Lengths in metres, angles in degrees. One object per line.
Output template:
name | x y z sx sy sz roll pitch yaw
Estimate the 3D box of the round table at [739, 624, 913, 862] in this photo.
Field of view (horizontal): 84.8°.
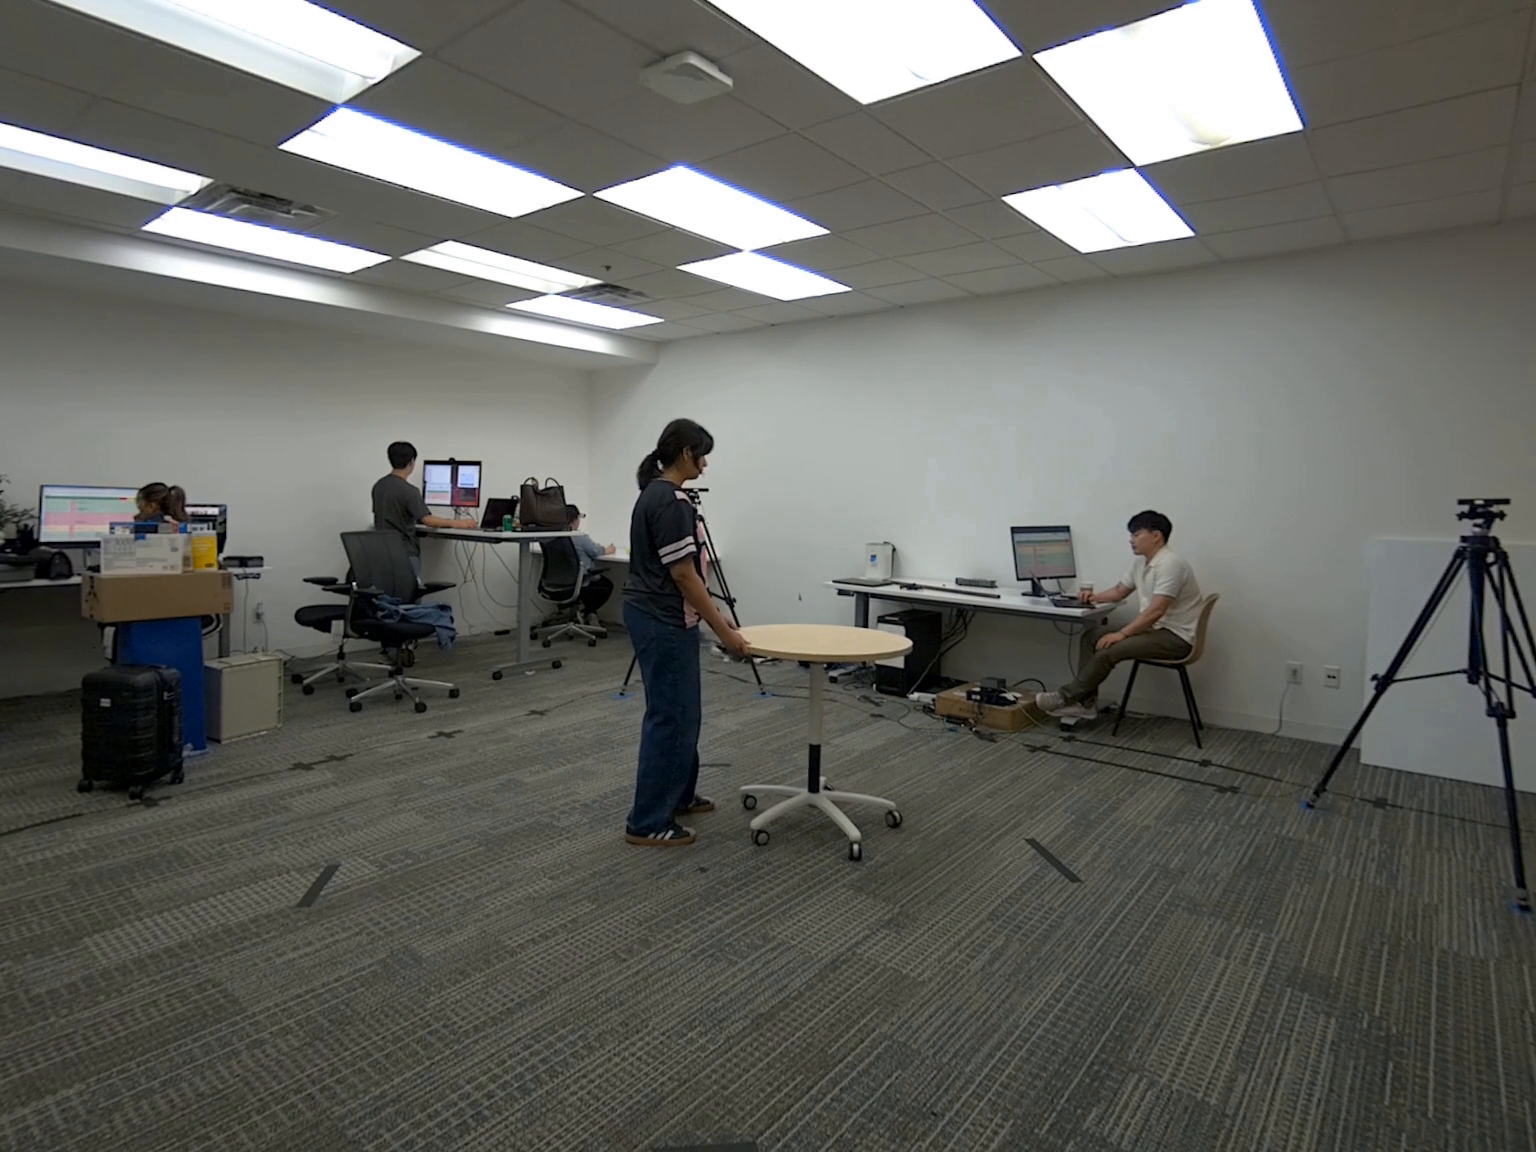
round table | 0.188 0.653 3.526 0.763 0.792 0.767 1 4 -2
